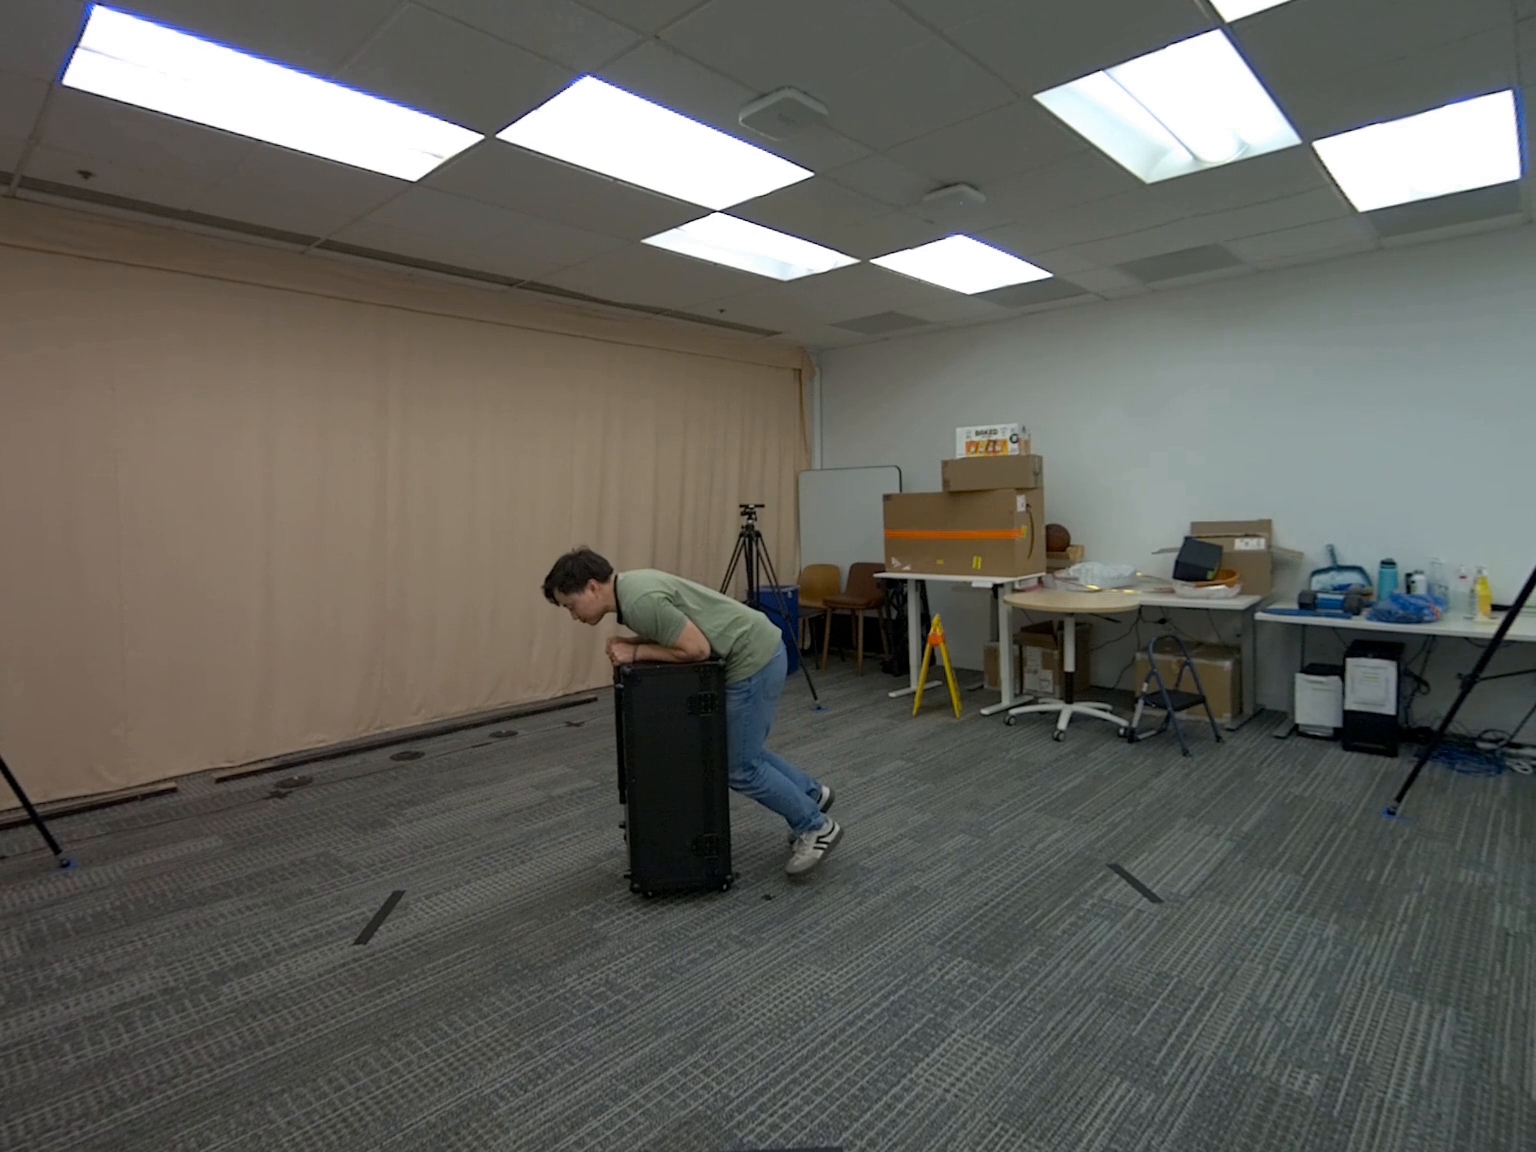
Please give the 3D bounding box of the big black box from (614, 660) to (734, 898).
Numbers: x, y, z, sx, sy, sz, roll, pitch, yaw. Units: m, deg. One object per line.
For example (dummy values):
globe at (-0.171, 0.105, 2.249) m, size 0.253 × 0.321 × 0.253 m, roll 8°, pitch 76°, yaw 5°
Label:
big black box at (-0.362, 0.716, 3.121) m, size 0.392 × 0.859 × 0.528 m, roll -3°, pitch 4°, yaw -10°
